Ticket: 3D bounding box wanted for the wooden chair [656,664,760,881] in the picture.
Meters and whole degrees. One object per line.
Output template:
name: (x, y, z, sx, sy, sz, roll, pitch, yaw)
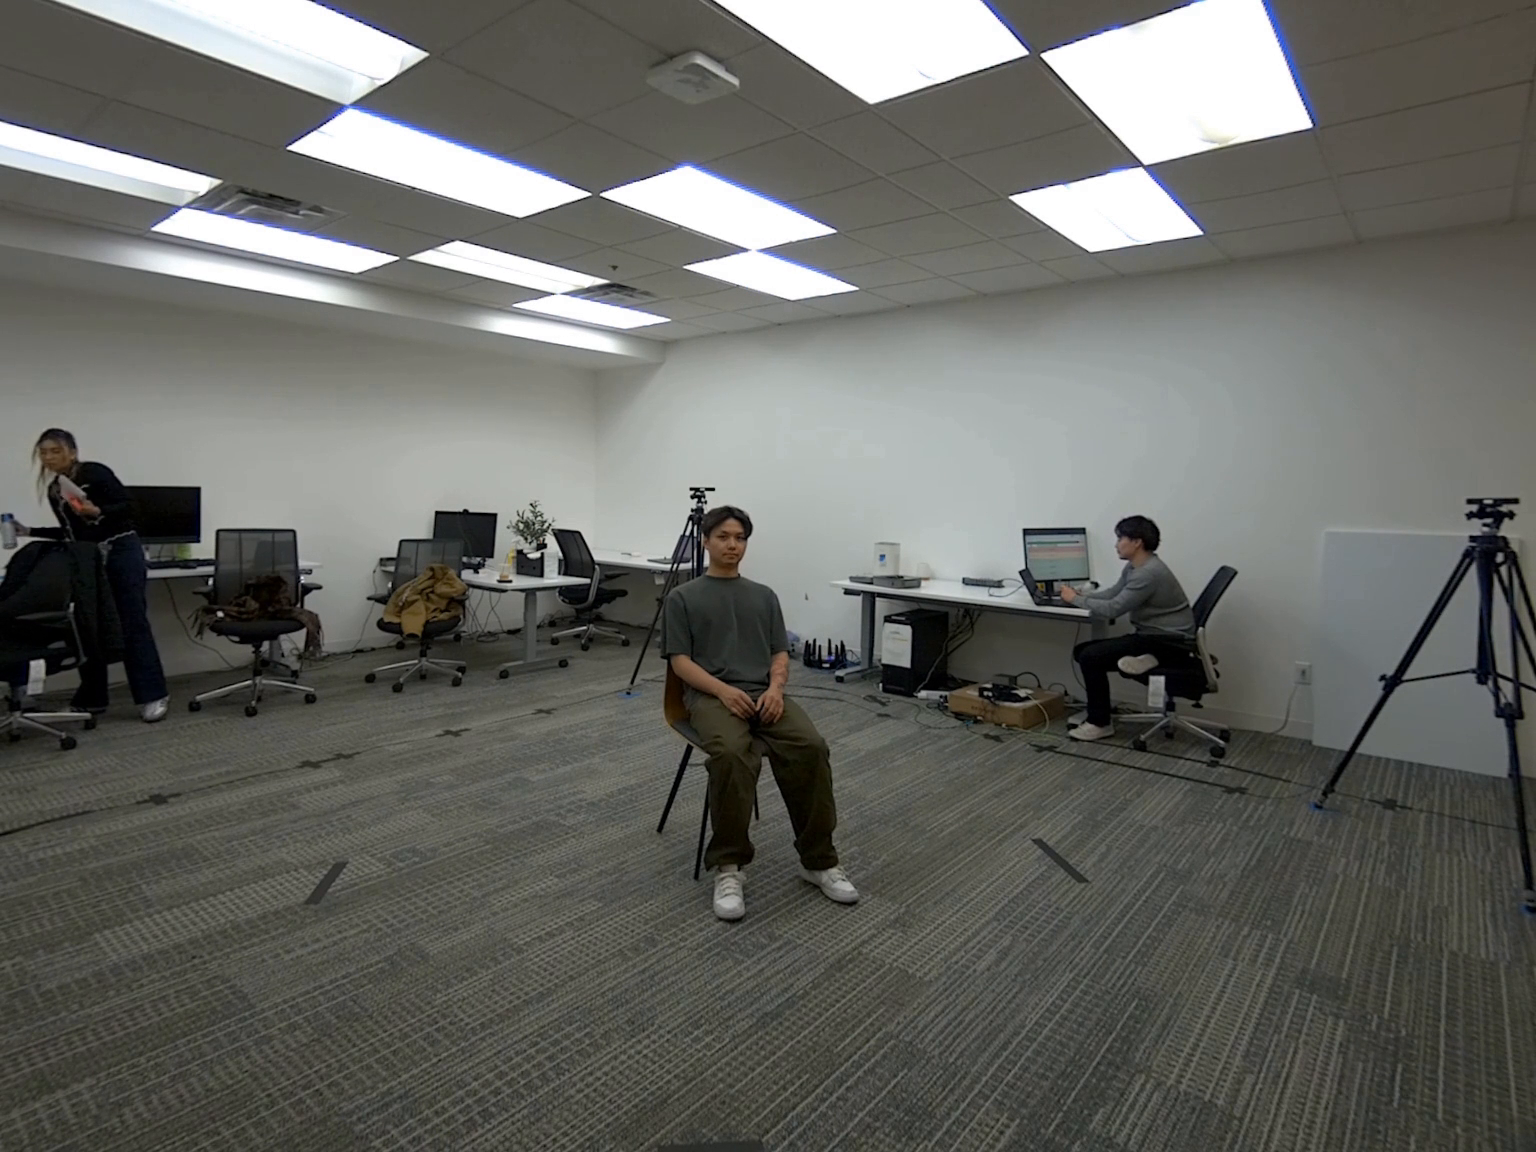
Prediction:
wooden chair: (-0.148, 0.618, 3.279, 0.467, 0.878, 0.535, 0, 0, -24)
